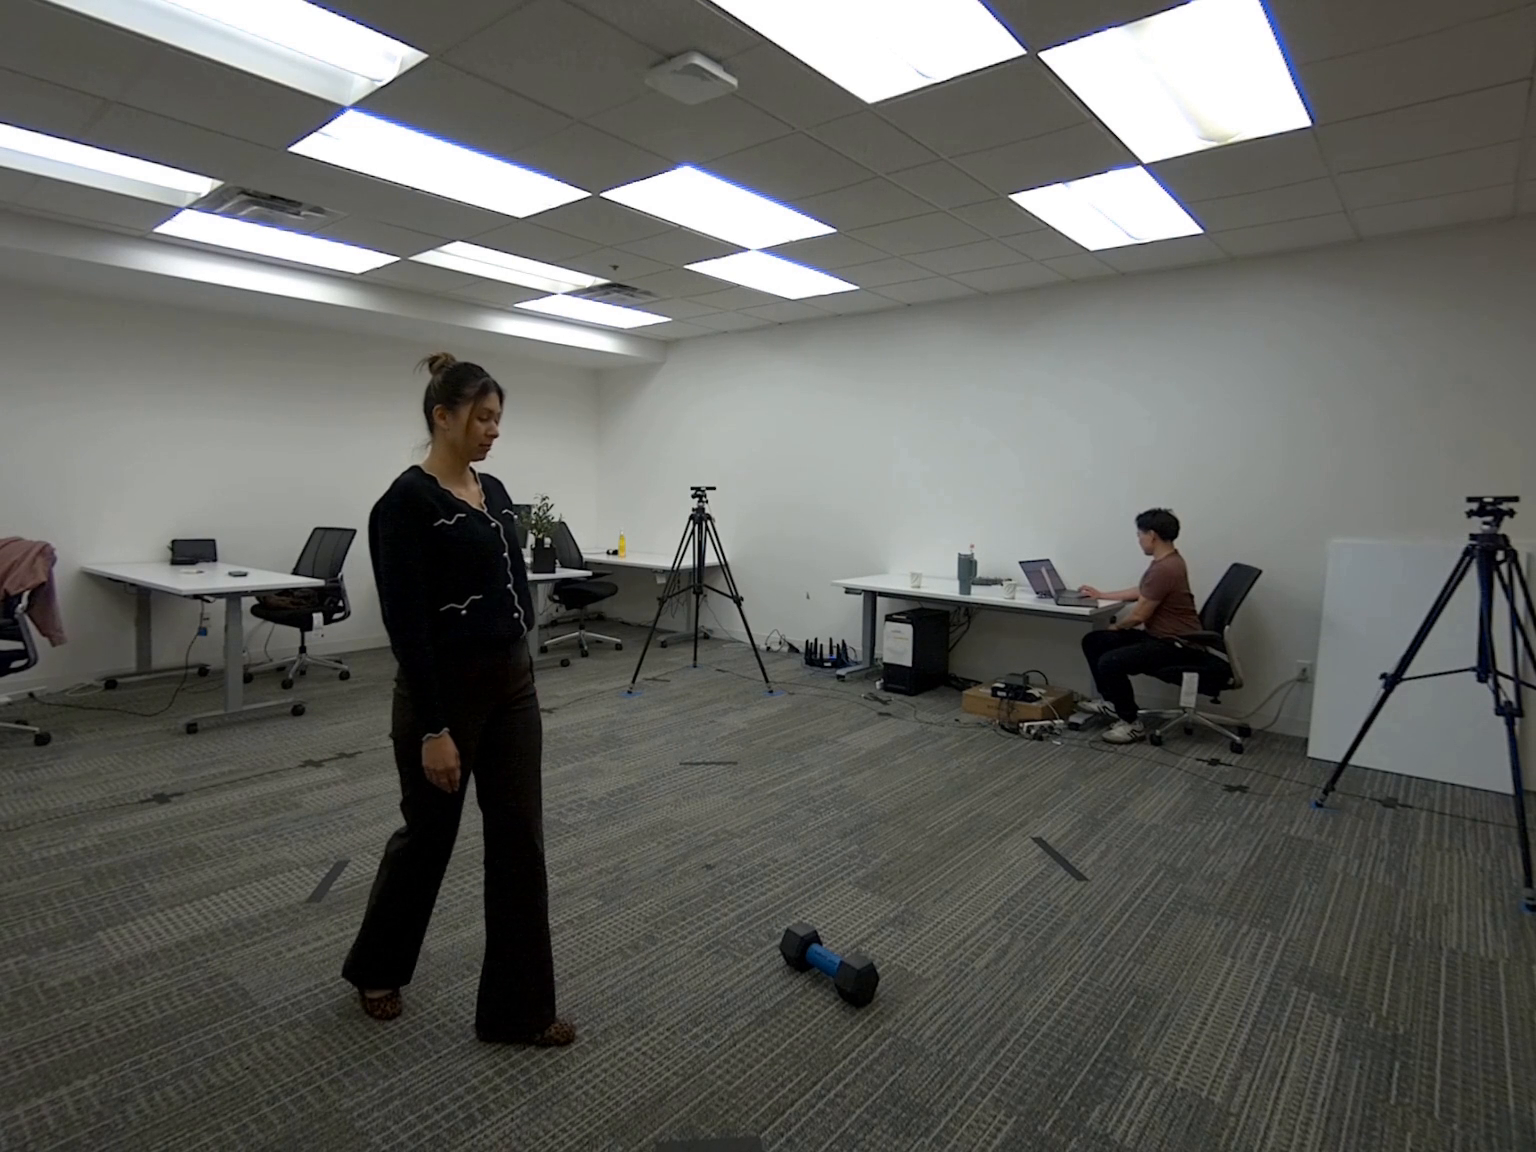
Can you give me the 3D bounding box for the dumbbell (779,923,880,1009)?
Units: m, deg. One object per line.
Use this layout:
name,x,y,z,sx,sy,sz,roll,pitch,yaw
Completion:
dumbbell,0.163,1.088,2.404,0.304,0.119,0.108,7,38,48
